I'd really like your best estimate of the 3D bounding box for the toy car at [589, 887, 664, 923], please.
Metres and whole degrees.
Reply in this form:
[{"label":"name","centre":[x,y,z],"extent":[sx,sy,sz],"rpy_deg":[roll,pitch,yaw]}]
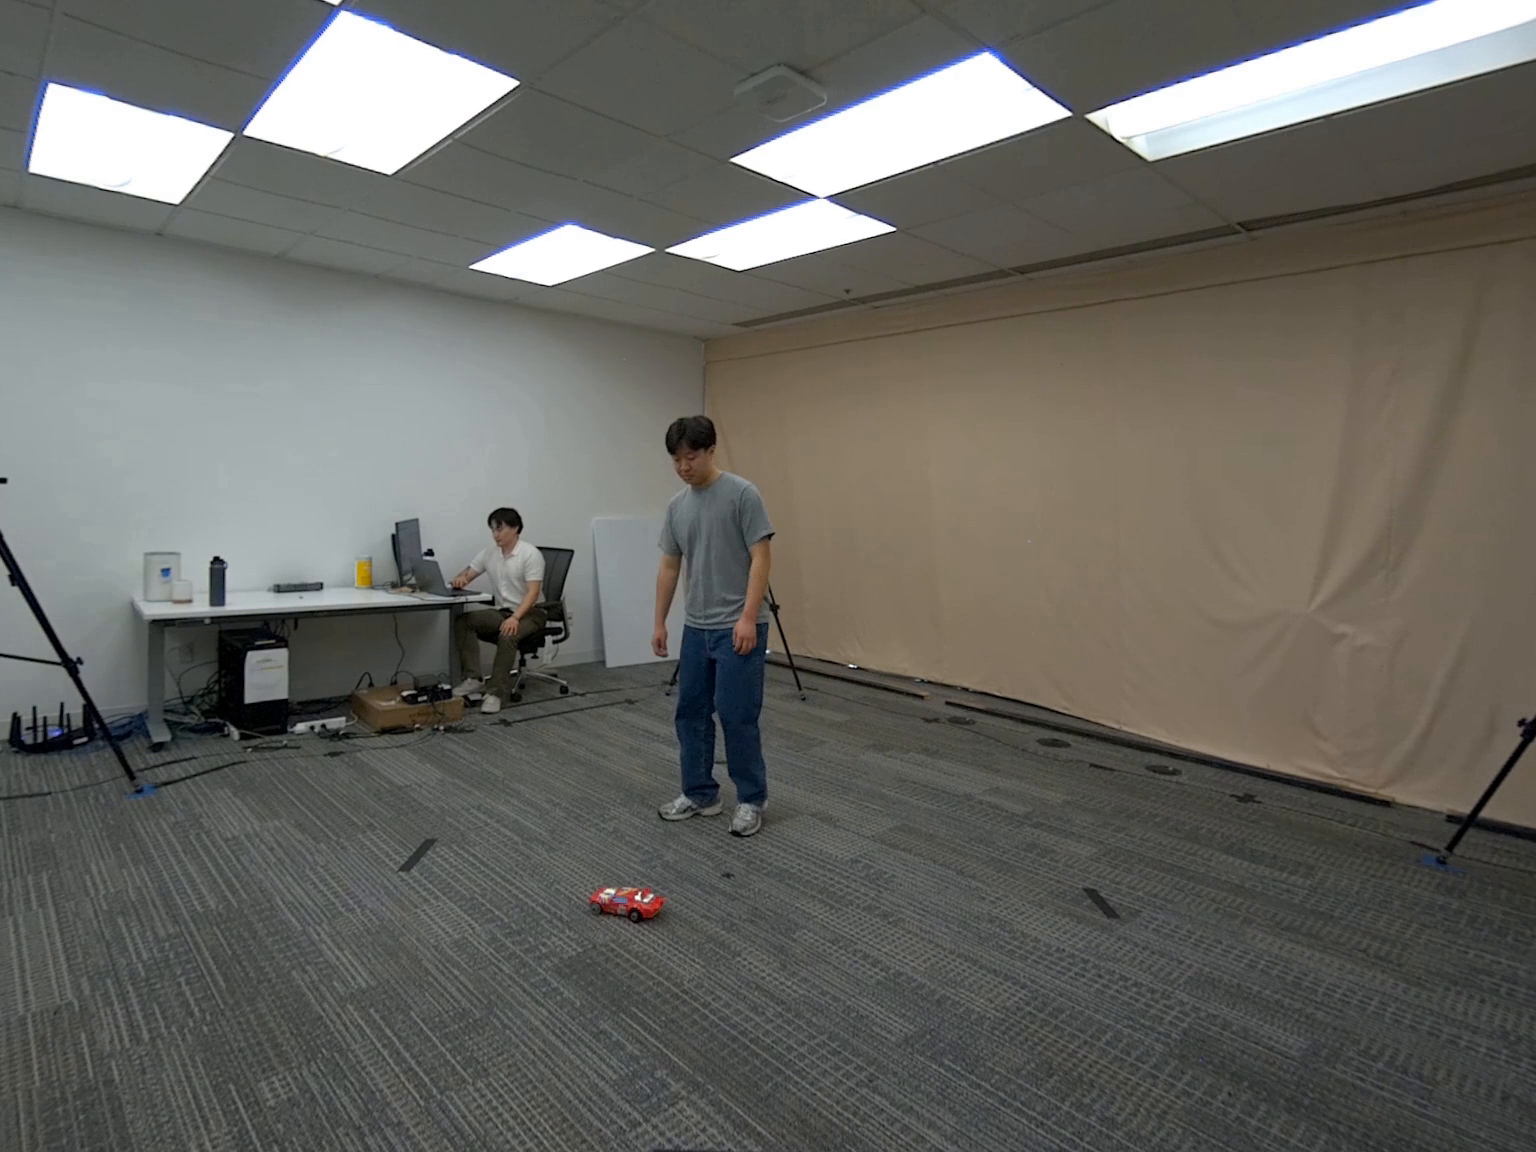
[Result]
[{"label":"toy car","centre":[-0.478,1.096,2.805],"extent":[0.258,0.083,0.128],"rpy_deg":[-7,2,21]}]
